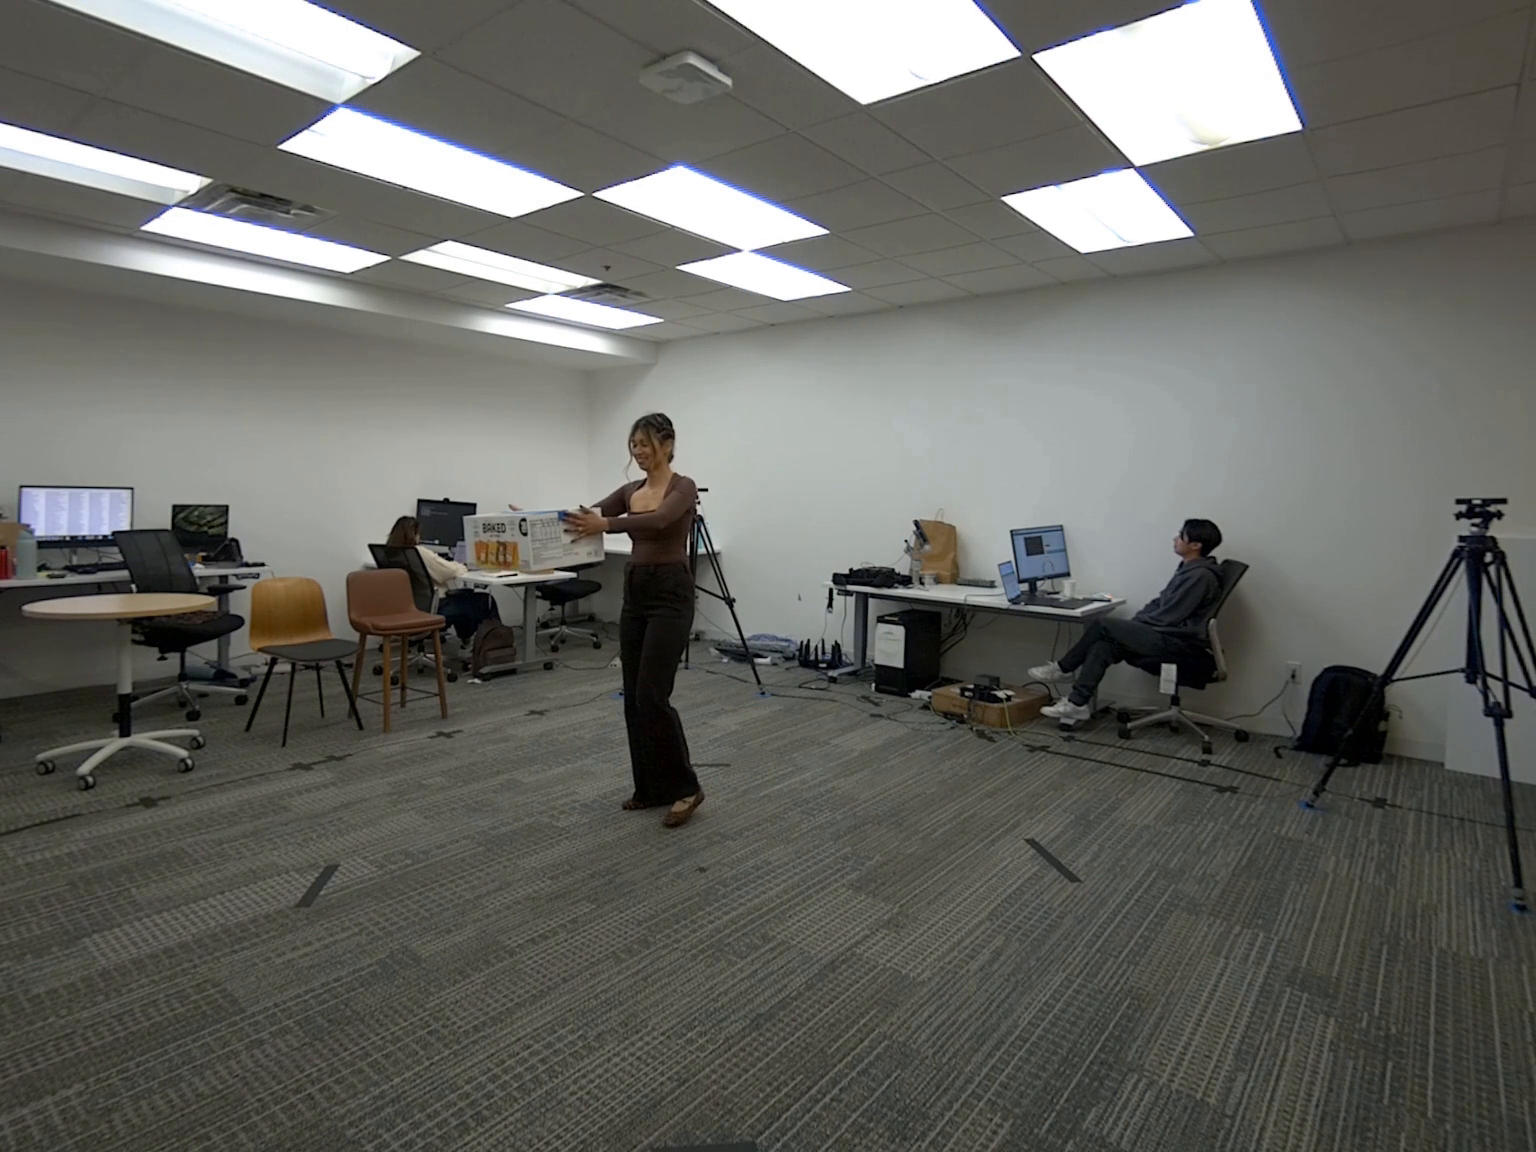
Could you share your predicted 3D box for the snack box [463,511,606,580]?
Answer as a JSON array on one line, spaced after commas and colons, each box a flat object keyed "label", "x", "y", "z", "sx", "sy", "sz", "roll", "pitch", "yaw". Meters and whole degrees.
[{"label": "snack box", "x": -0.903, "y": -0.144, "z": 3.219, "sx": 0.418, "sy": 0.204, "sz": 0.331, "roll": 3, "pitch": 9, "yaw": 40}]
